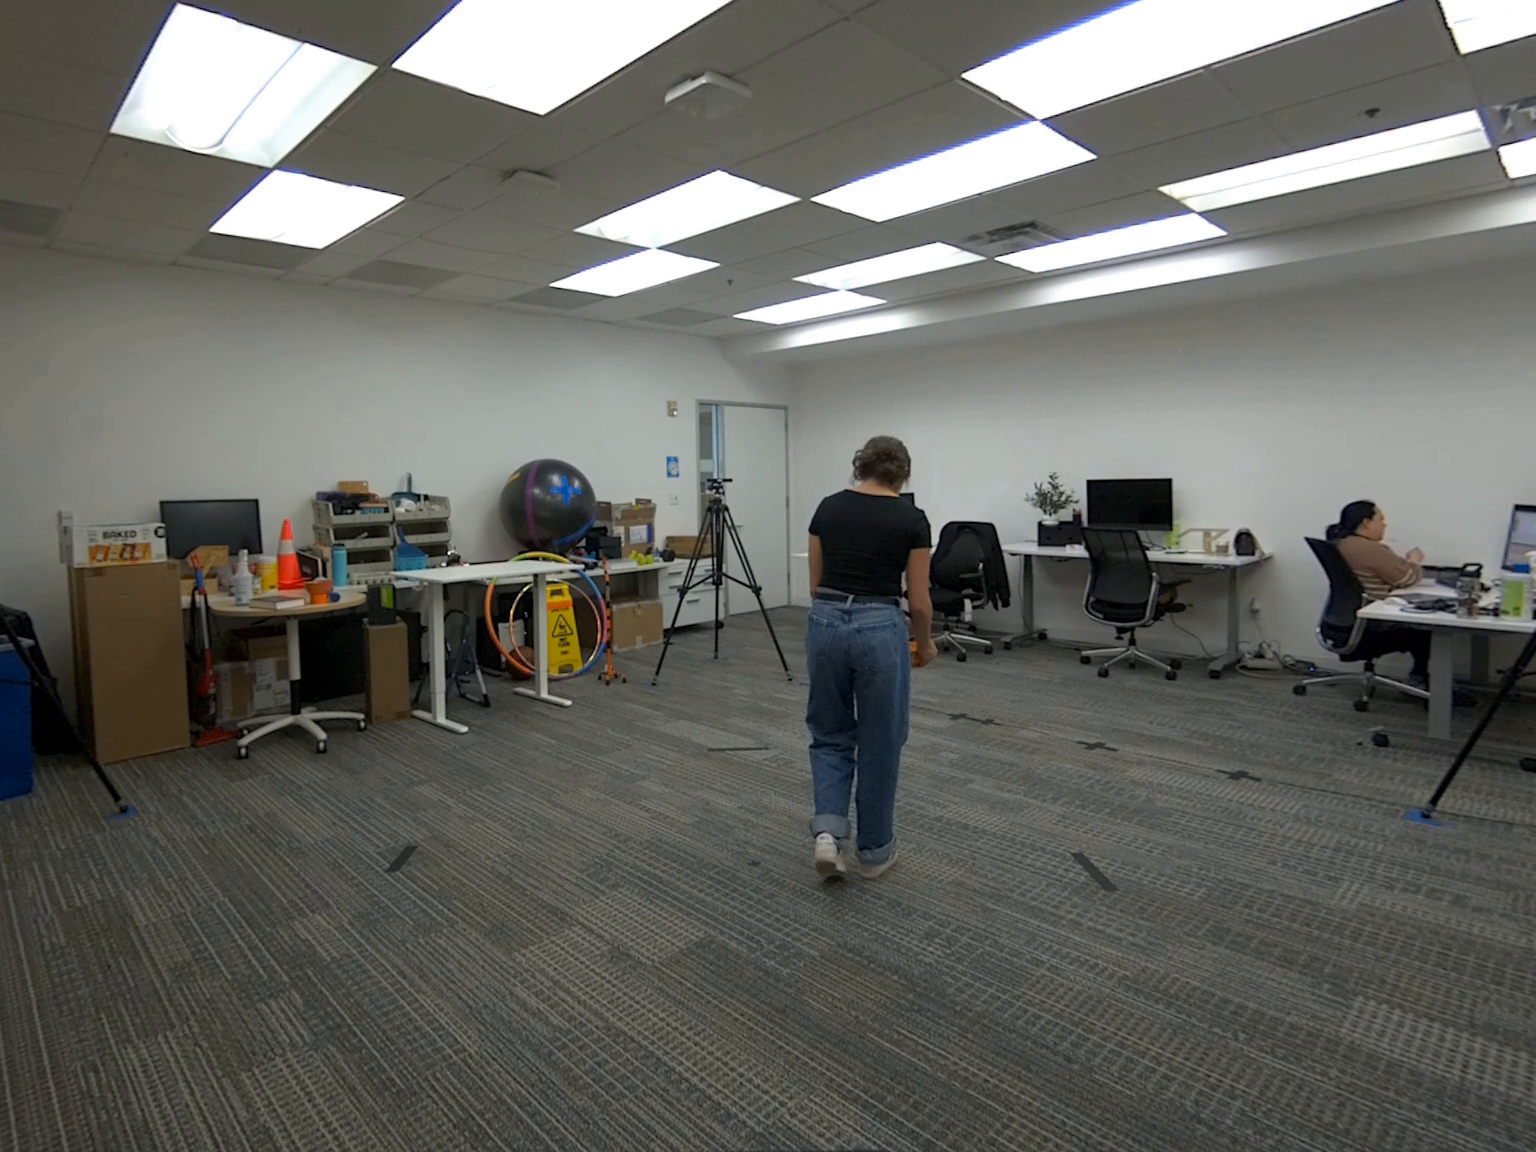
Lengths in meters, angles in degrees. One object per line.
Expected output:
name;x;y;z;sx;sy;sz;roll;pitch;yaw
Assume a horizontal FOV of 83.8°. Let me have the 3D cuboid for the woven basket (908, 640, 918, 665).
woven basket;0.450;0.282;3.178;0.361;0.073;0.245;7;3;34
